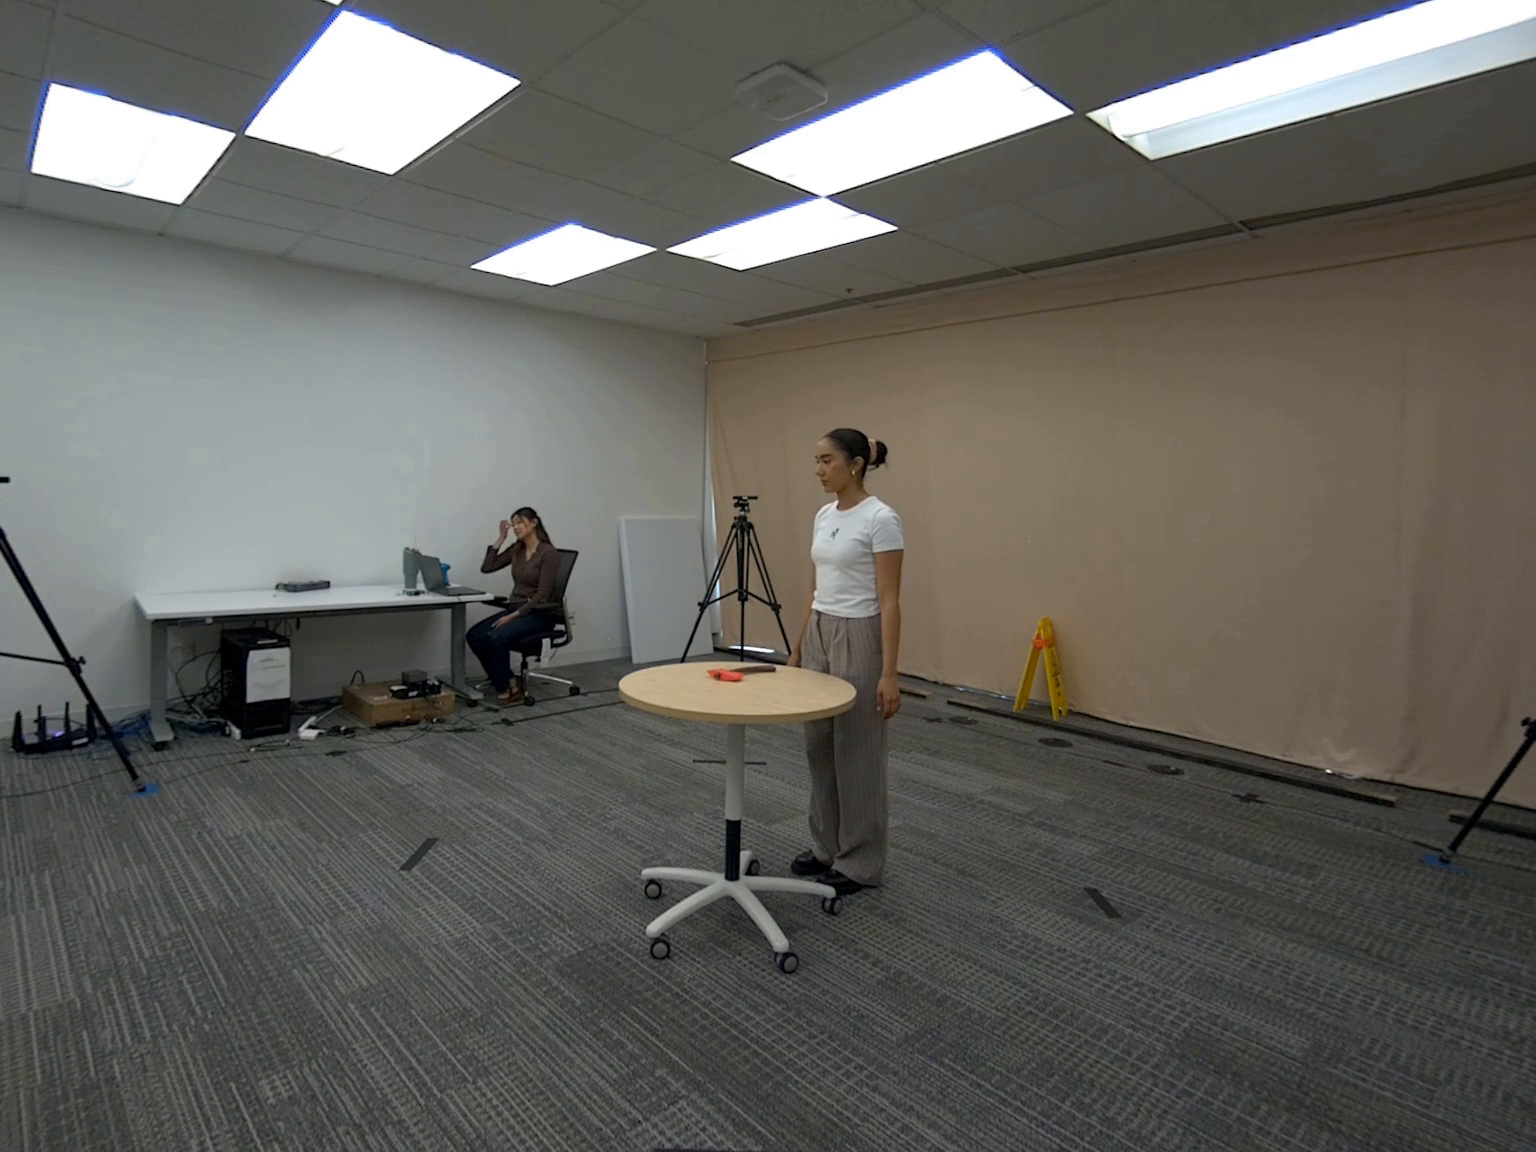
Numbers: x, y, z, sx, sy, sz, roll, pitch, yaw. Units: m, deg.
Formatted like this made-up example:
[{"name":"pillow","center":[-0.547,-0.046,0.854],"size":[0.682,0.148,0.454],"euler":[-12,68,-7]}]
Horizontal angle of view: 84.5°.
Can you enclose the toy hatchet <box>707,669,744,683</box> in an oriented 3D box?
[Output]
[{"name":"toy hatchet","center":[-0.074,0.332,2.864],"size":[0.264,0.029,0.134],"euler":[0,6,-33]}]
